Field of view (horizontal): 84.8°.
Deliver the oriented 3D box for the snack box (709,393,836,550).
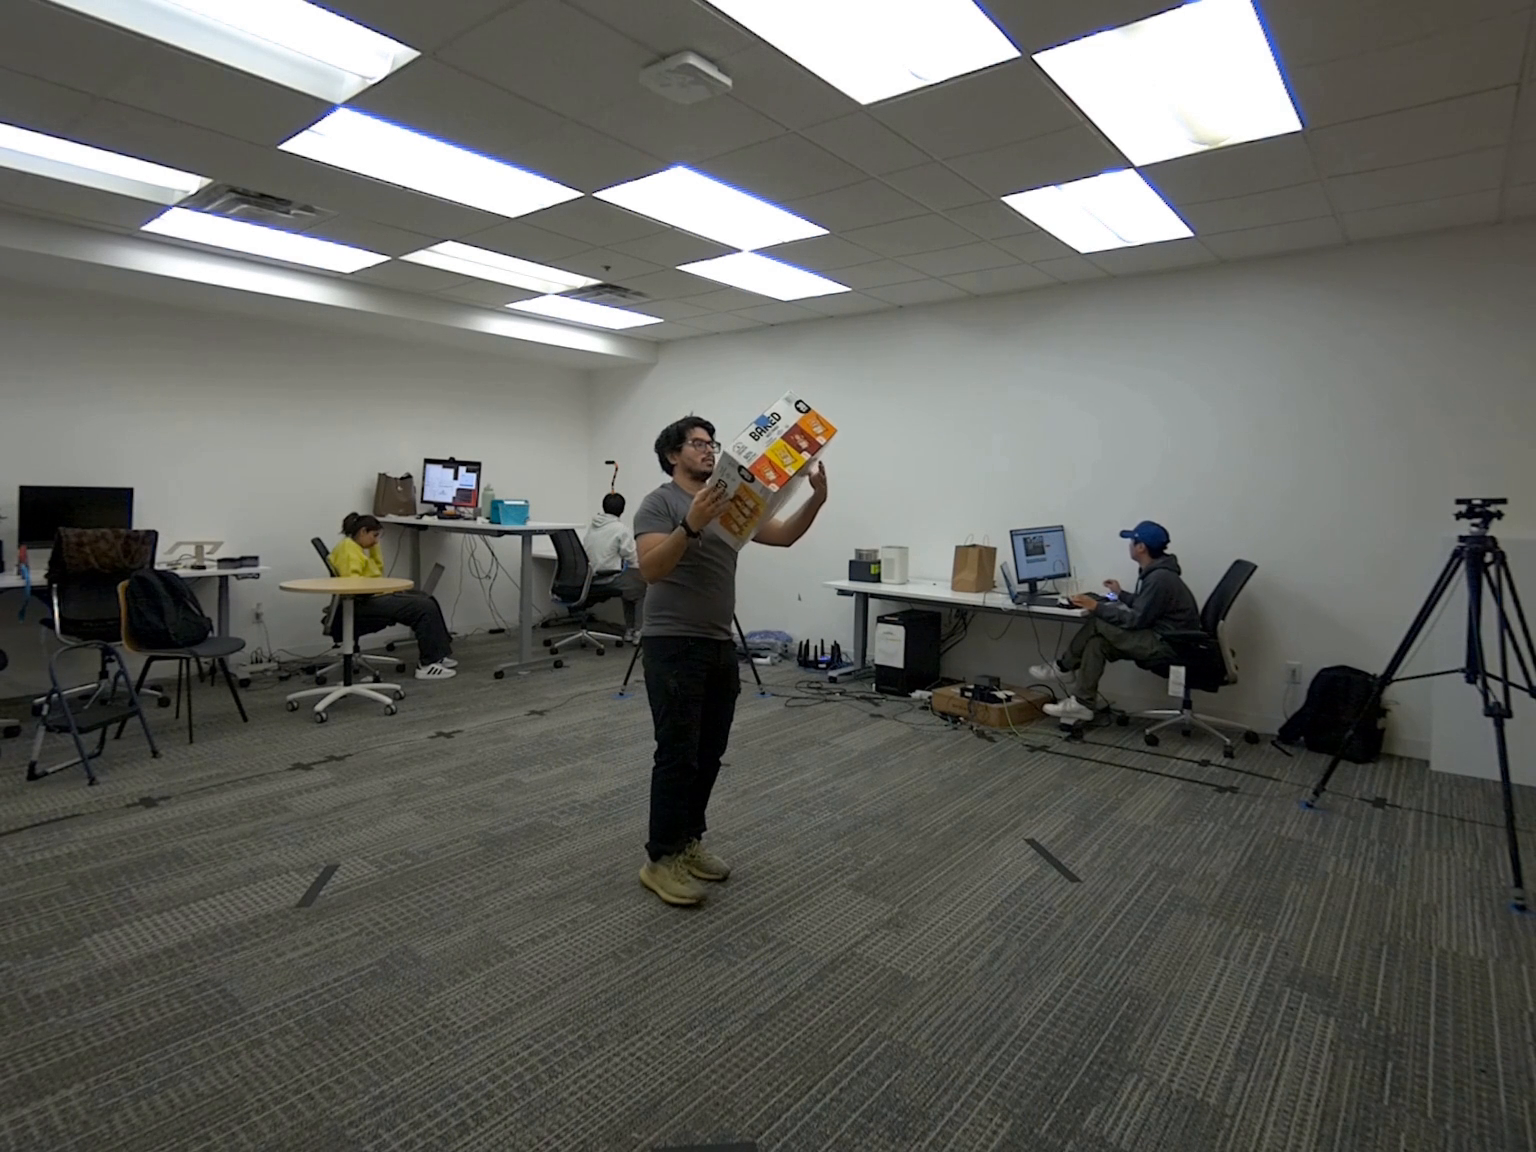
[{"bbox_3d":[-0.023,-0.332,2.753,0.340,0.208,0.402,-46,-5,-30],"label":"snack box"}]
